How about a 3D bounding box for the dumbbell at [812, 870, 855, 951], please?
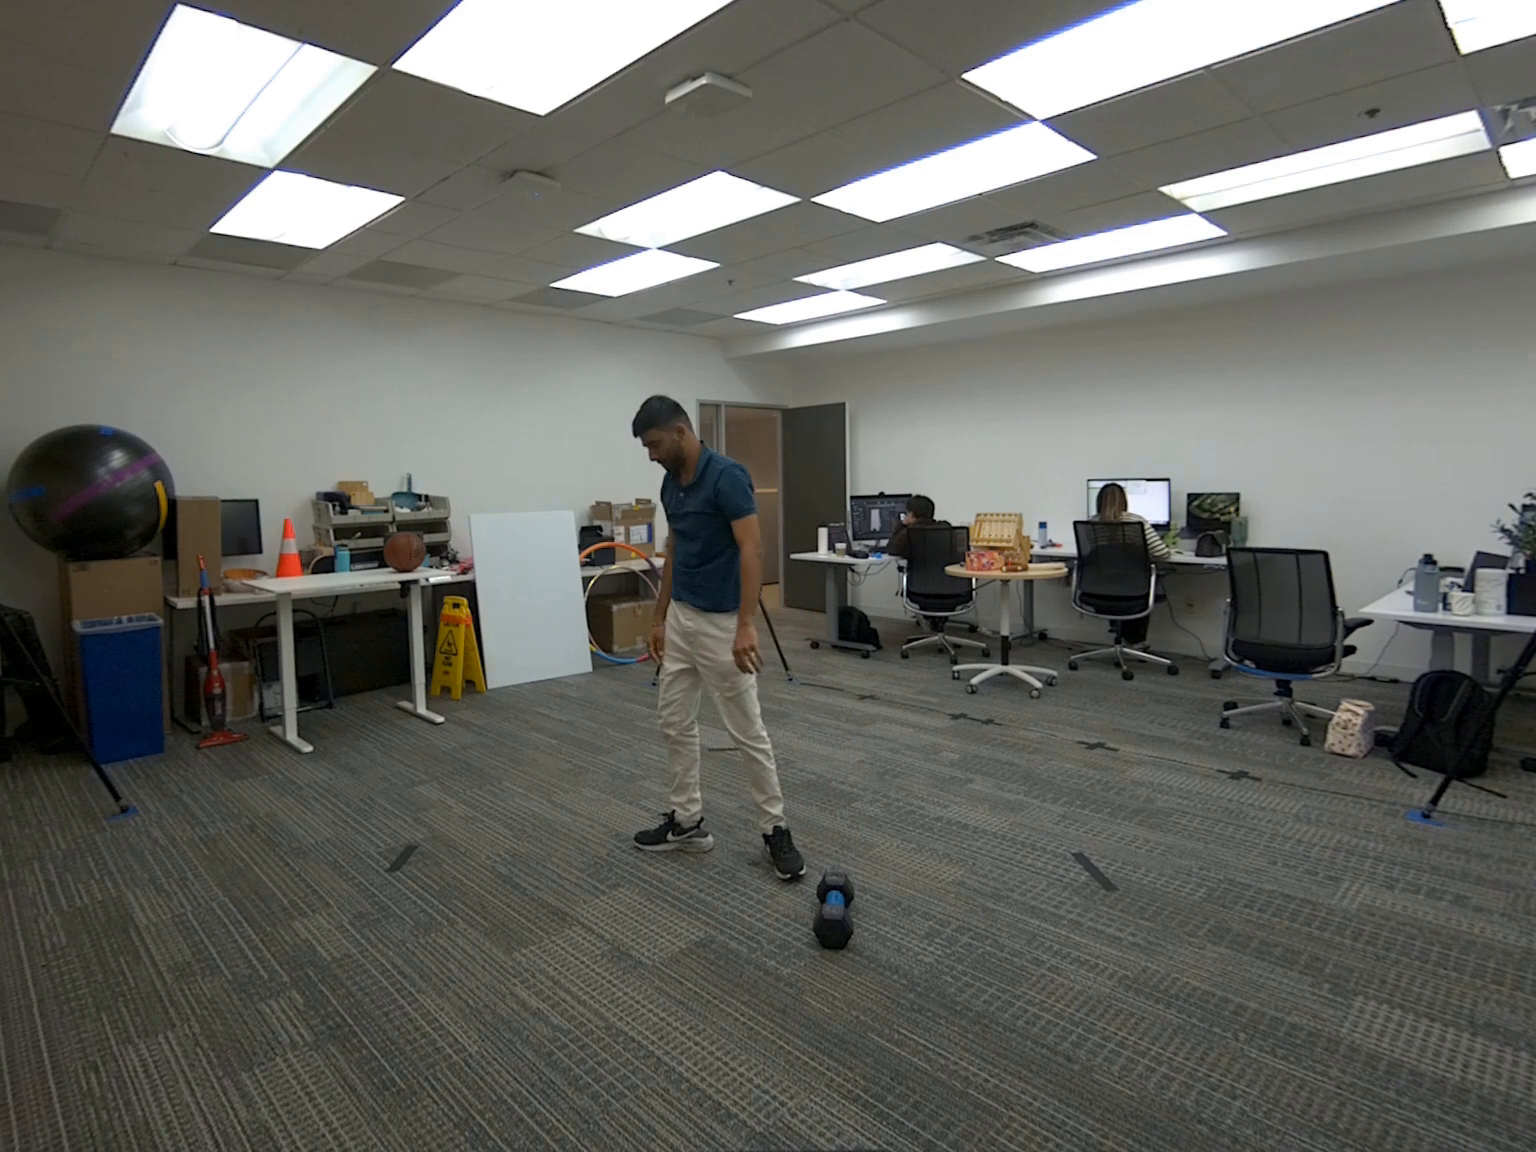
[{"bbox_3d":[0.218,1.038,2.661,0.124,0.108,0.292,1,6,8],"label":"dumbbell"}]
